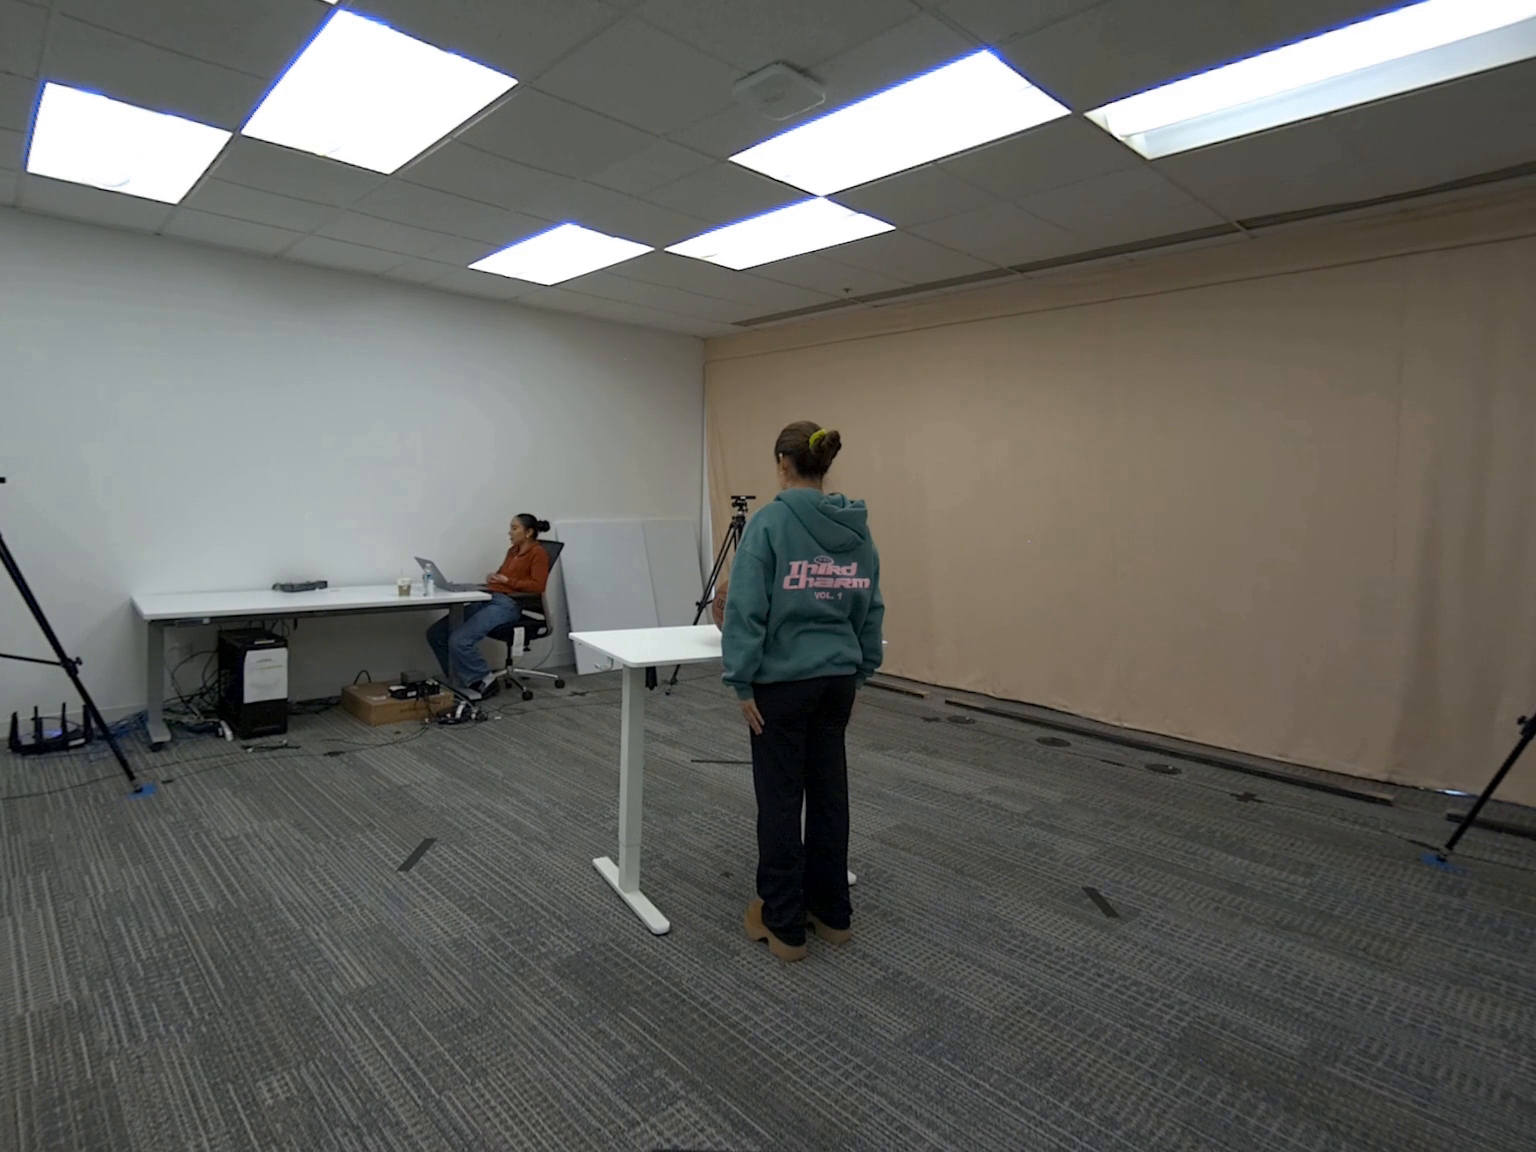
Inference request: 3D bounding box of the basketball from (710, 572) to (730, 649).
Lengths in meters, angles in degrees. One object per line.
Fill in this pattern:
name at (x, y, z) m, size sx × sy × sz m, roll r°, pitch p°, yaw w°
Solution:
basketball at (-0.083, 0.118, 2.978) m, size 0.236 × 0.235 × 0.237 m, roll 1°, pitch 4°, yaw -1°
